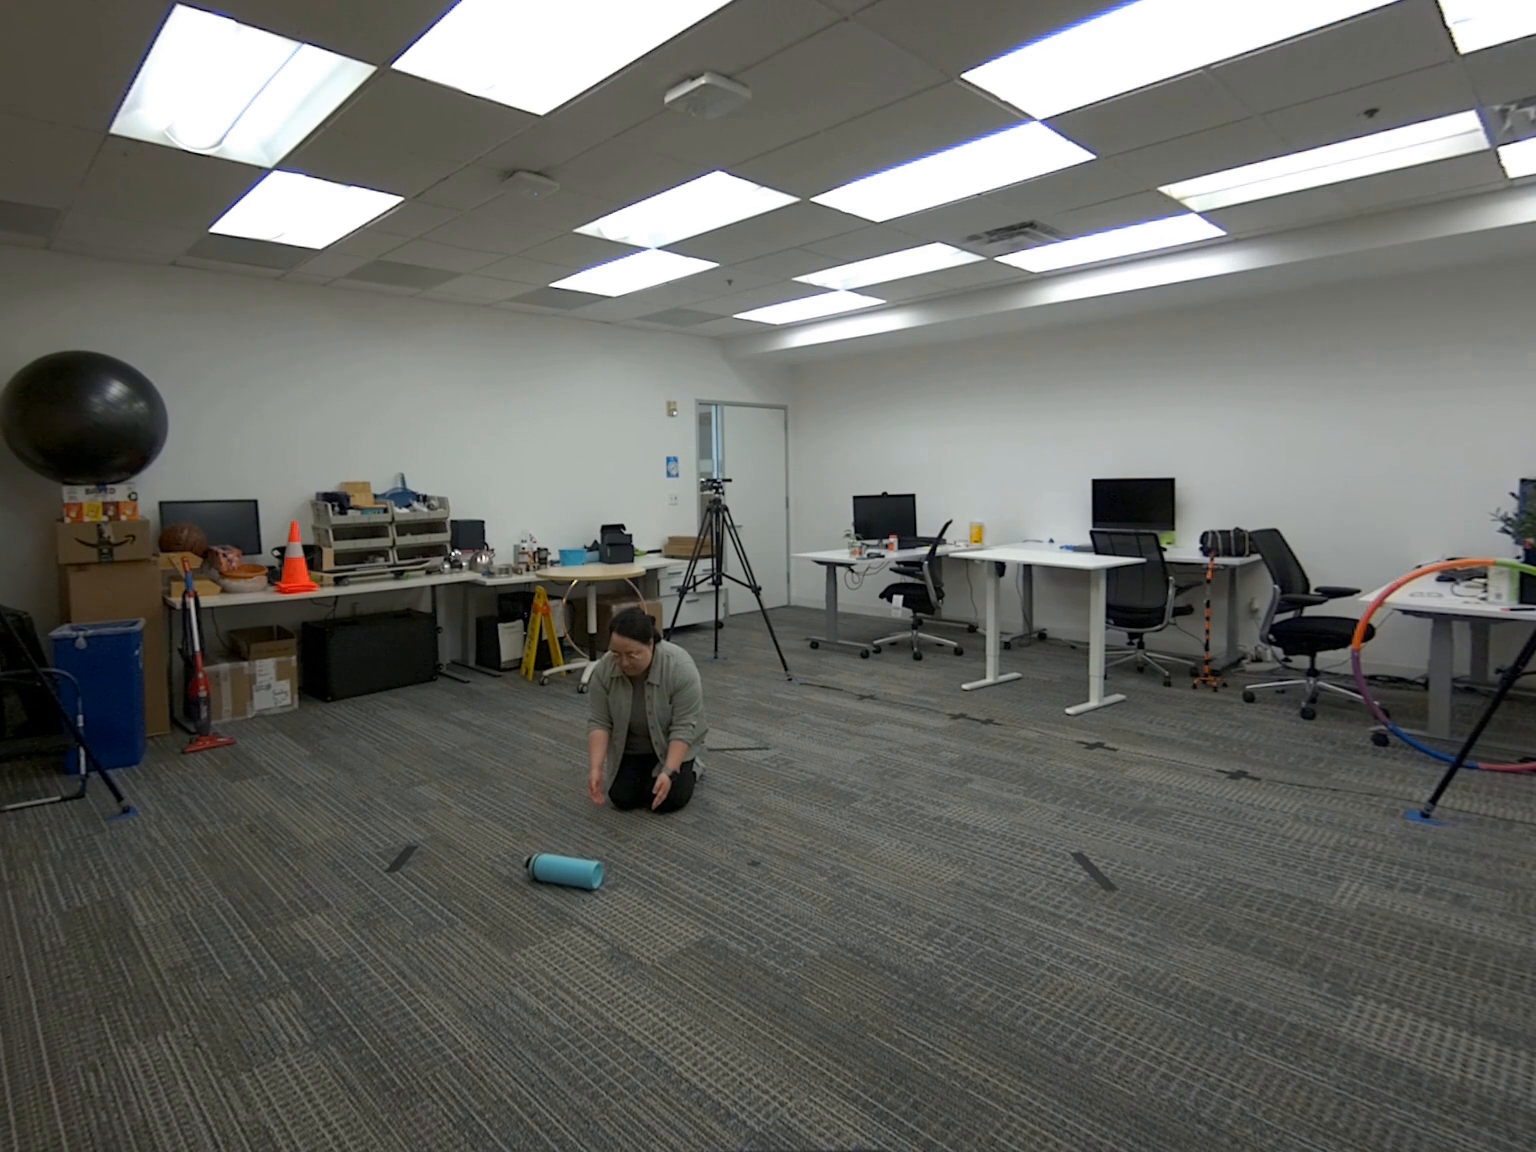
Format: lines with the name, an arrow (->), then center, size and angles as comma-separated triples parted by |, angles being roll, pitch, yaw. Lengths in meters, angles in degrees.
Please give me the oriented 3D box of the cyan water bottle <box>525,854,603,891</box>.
cyan water bottle -> -0.723, 1.028, 2.979 | 0.288, 0.092, 0.091 | 1, 5, 18
